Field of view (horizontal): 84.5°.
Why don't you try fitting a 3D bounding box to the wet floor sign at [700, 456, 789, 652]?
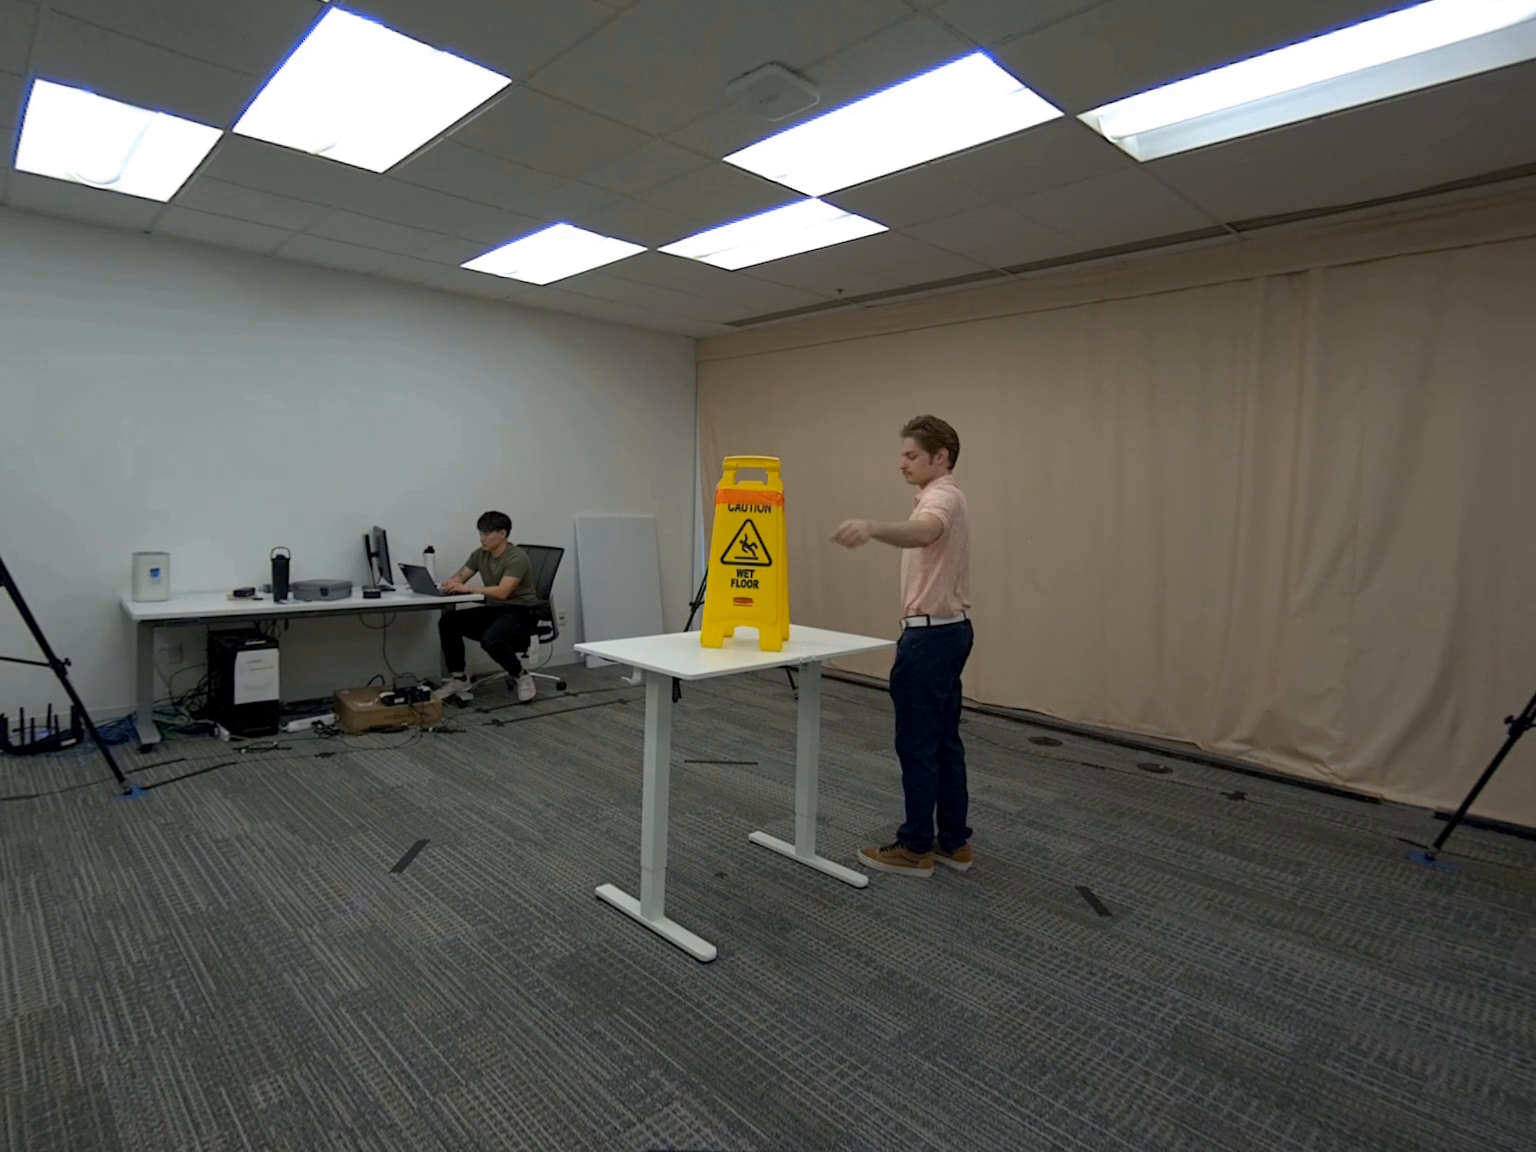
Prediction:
[{"bbox_3d":[-0.065,-0.084,2.923,0.284,0.645,0.288,2,2,7],"label":"wet floor sign"}]
